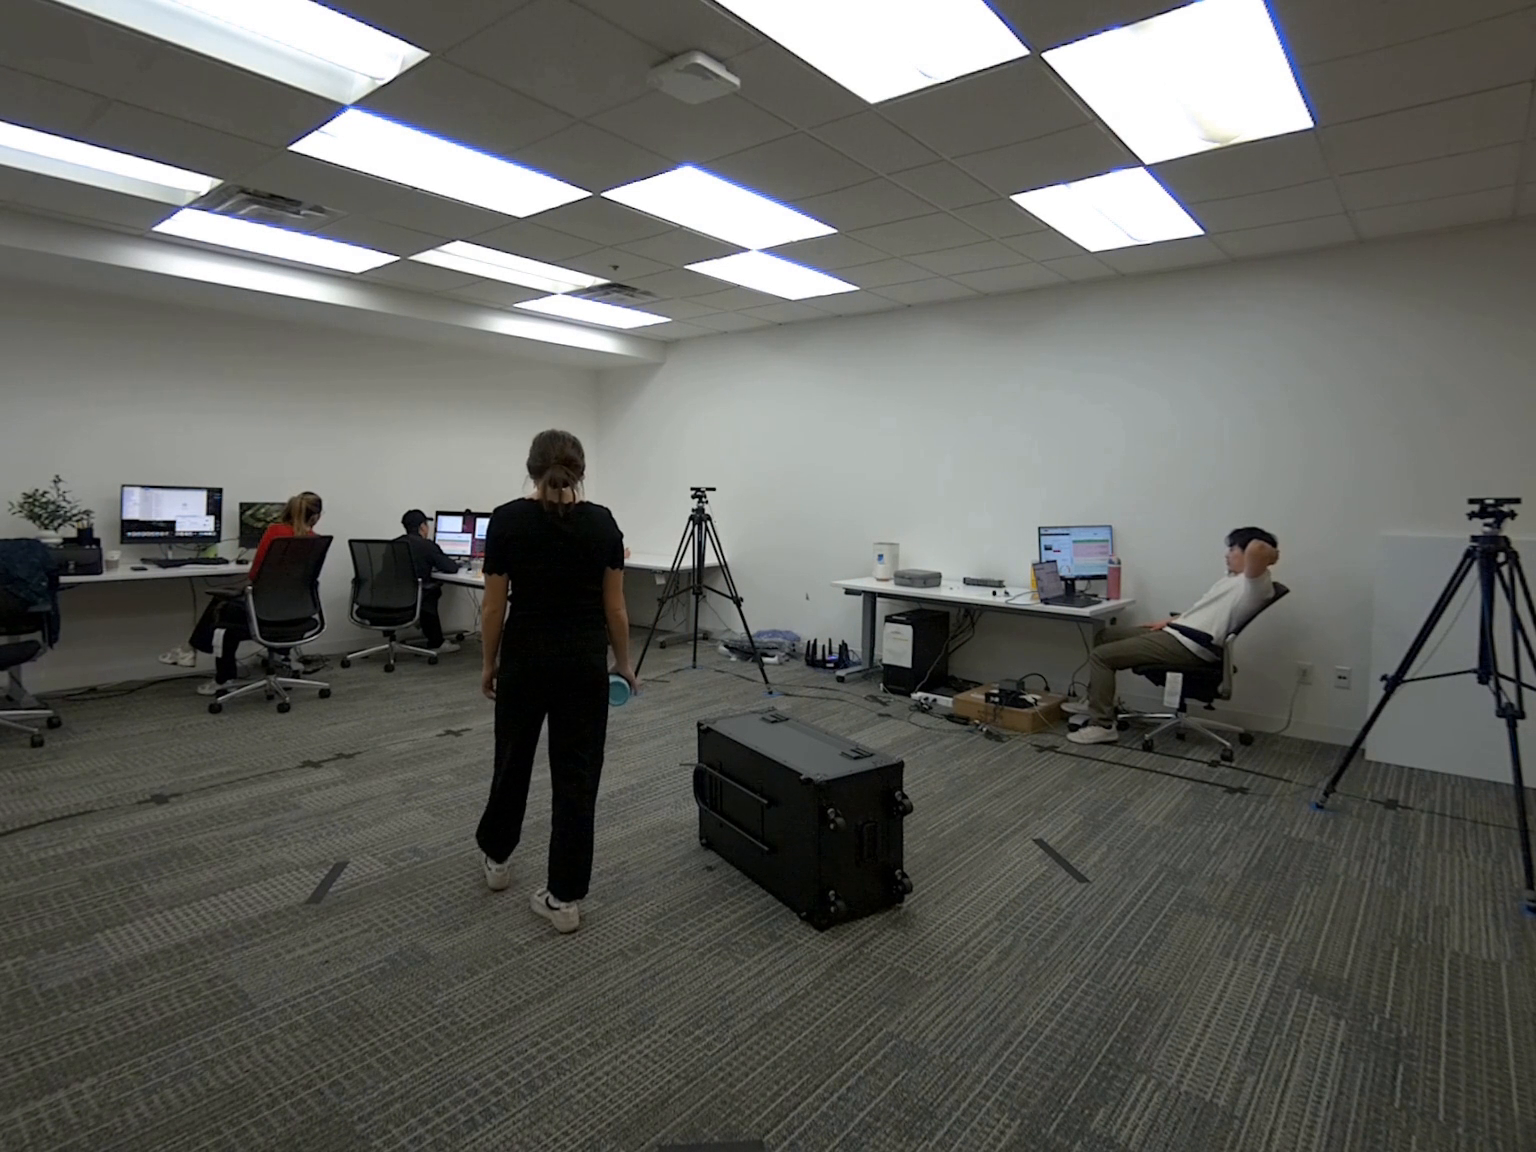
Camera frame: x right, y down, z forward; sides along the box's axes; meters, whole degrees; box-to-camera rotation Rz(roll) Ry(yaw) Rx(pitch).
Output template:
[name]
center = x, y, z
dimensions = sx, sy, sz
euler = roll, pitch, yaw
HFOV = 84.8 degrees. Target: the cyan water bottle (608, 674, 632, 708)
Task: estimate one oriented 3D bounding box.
[cyan water bottle]
center = -0.547, 0.379, 2.974
dimensions = 0.091, 0.092, 0.287
euler = 0, 3, -11
